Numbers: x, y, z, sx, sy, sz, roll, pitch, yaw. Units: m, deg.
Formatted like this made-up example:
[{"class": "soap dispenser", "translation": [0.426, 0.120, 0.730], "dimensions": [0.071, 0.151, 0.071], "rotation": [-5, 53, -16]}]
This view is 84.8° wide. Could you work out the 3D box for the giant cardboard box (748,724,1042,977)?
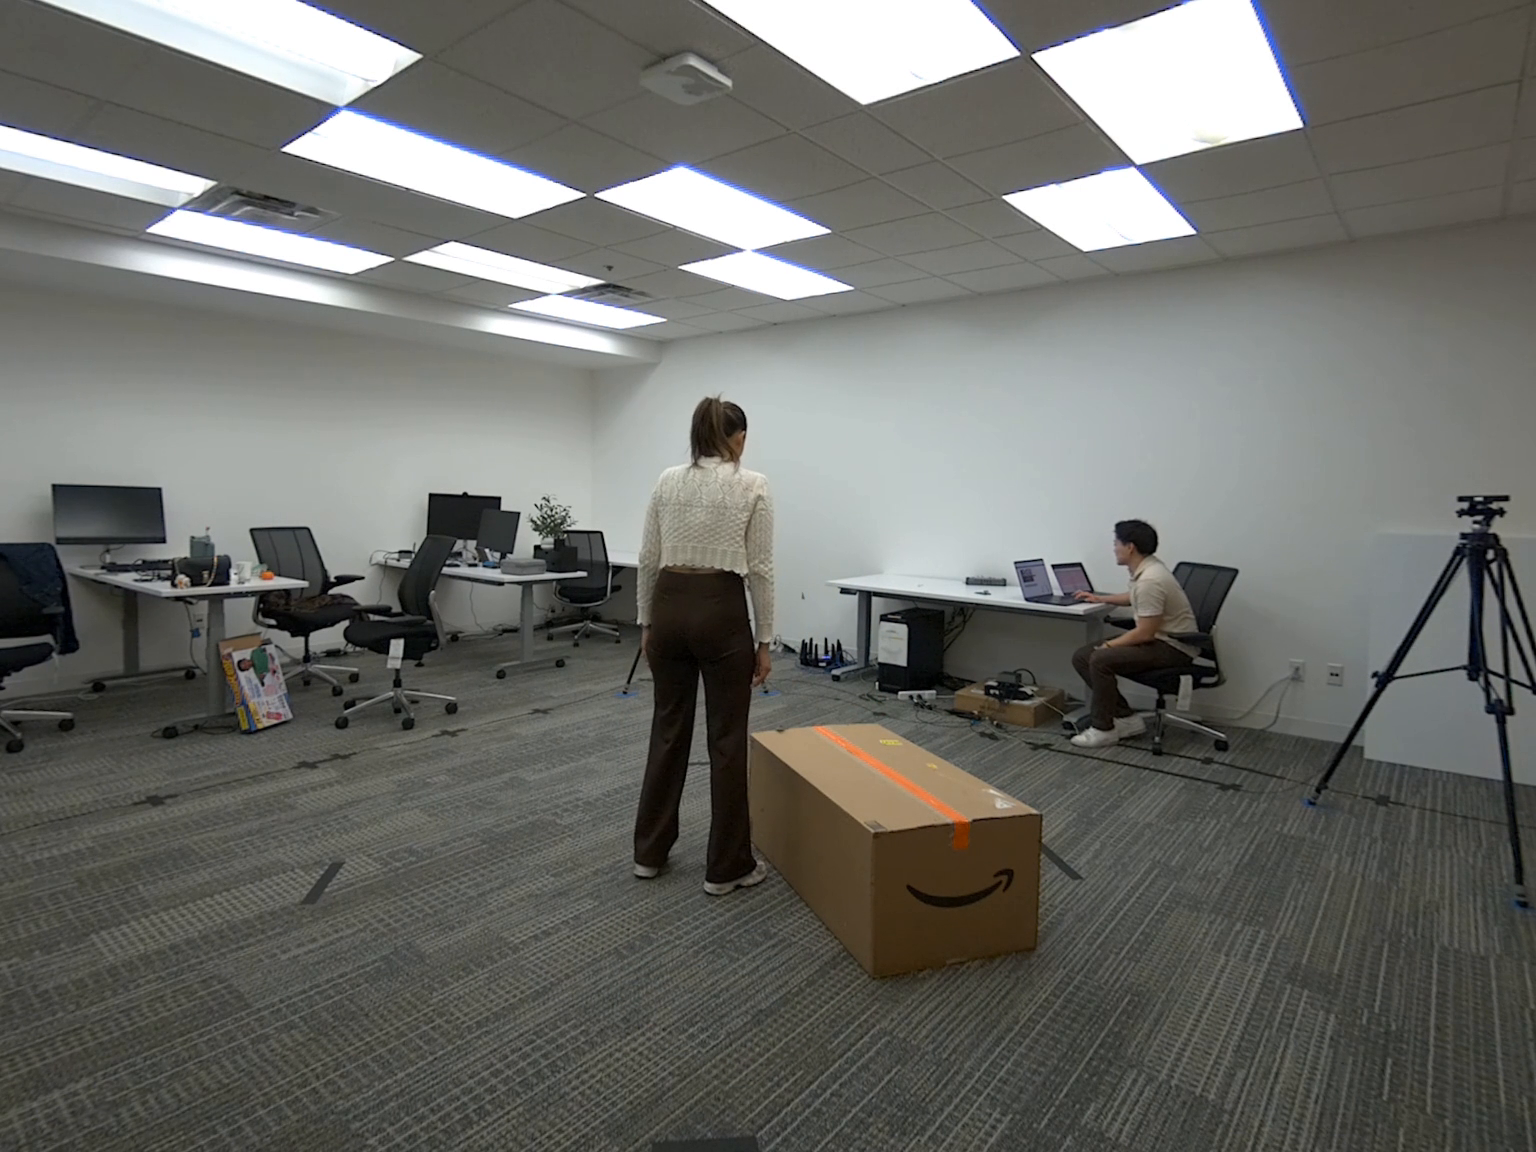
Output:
[{"class": "giant cardboard box", "translation": [0.368, 0.871, 2.980], "dimensions": [0.566, 0.425, 1.051], "rotation": [0, 5, -21]}]
